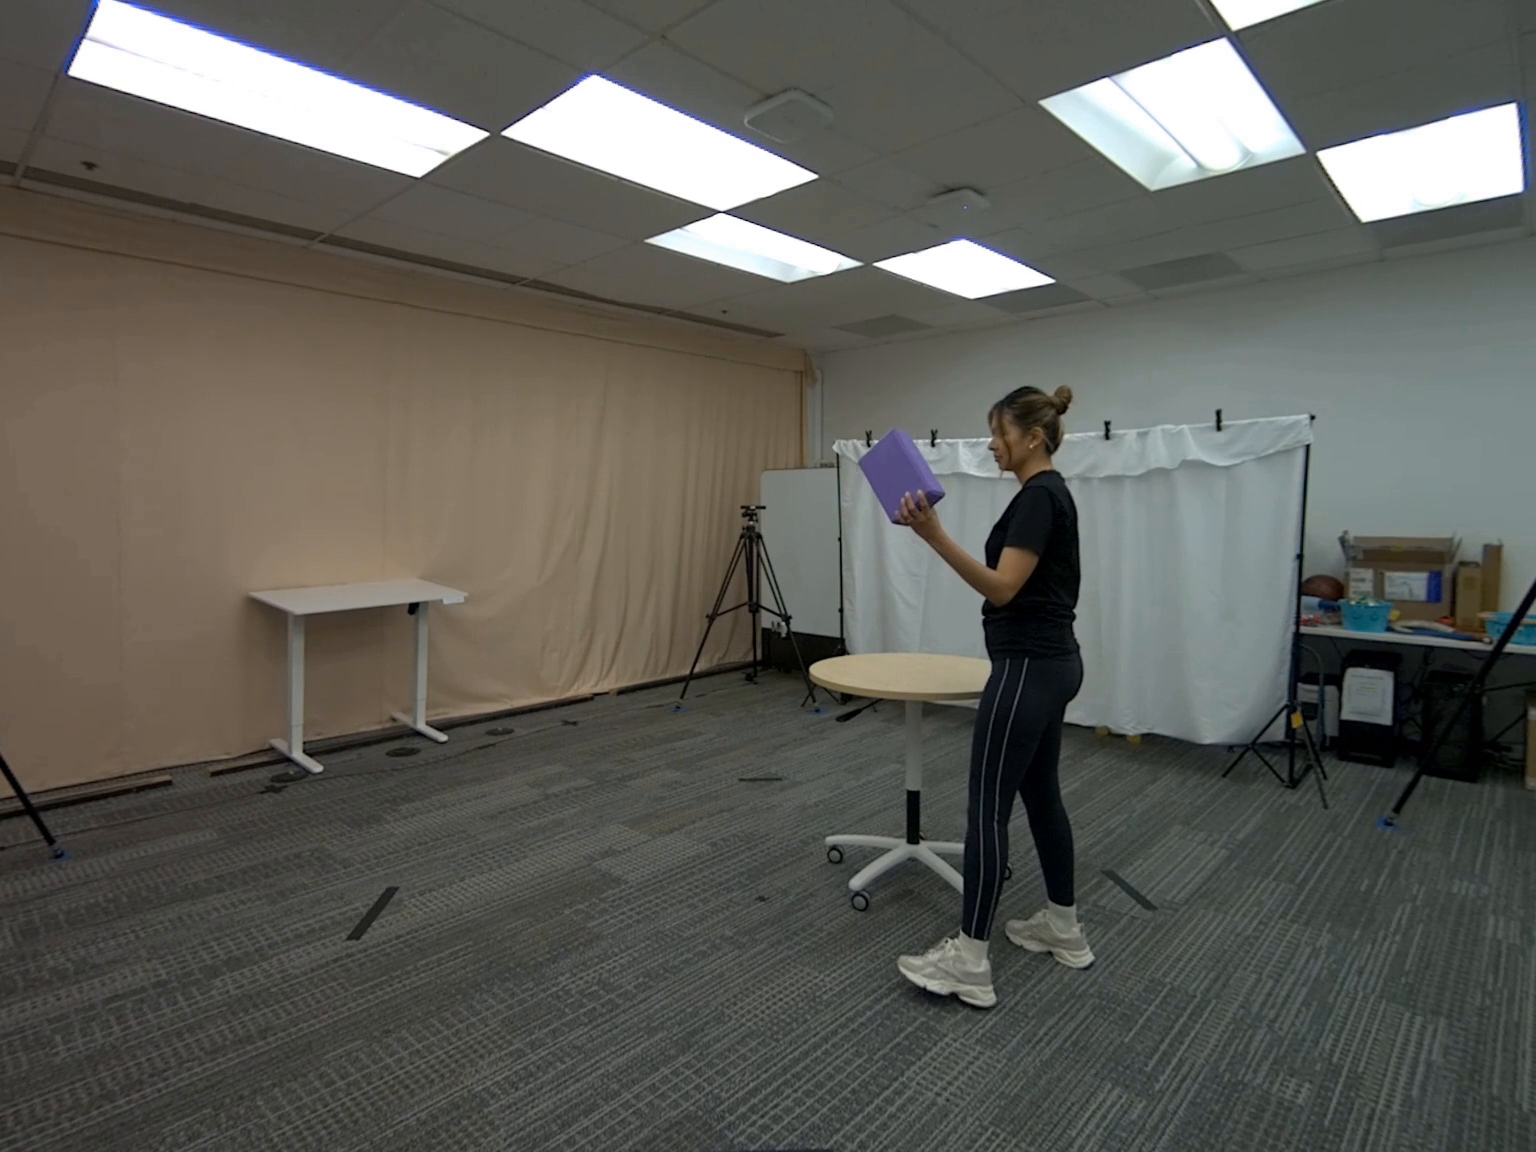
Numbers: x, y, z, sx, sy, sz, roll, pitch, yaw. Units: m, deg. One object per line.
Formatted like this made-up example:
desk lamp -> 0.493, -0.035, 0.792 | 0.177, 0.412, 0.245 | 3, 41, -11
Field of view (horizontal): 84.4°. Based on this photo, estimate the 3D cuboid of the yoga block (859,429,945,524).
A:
yoga block -> 0.358, -0.267, 2.288 | 0.074, 0.235, 0.150 | 10, -43, -45
